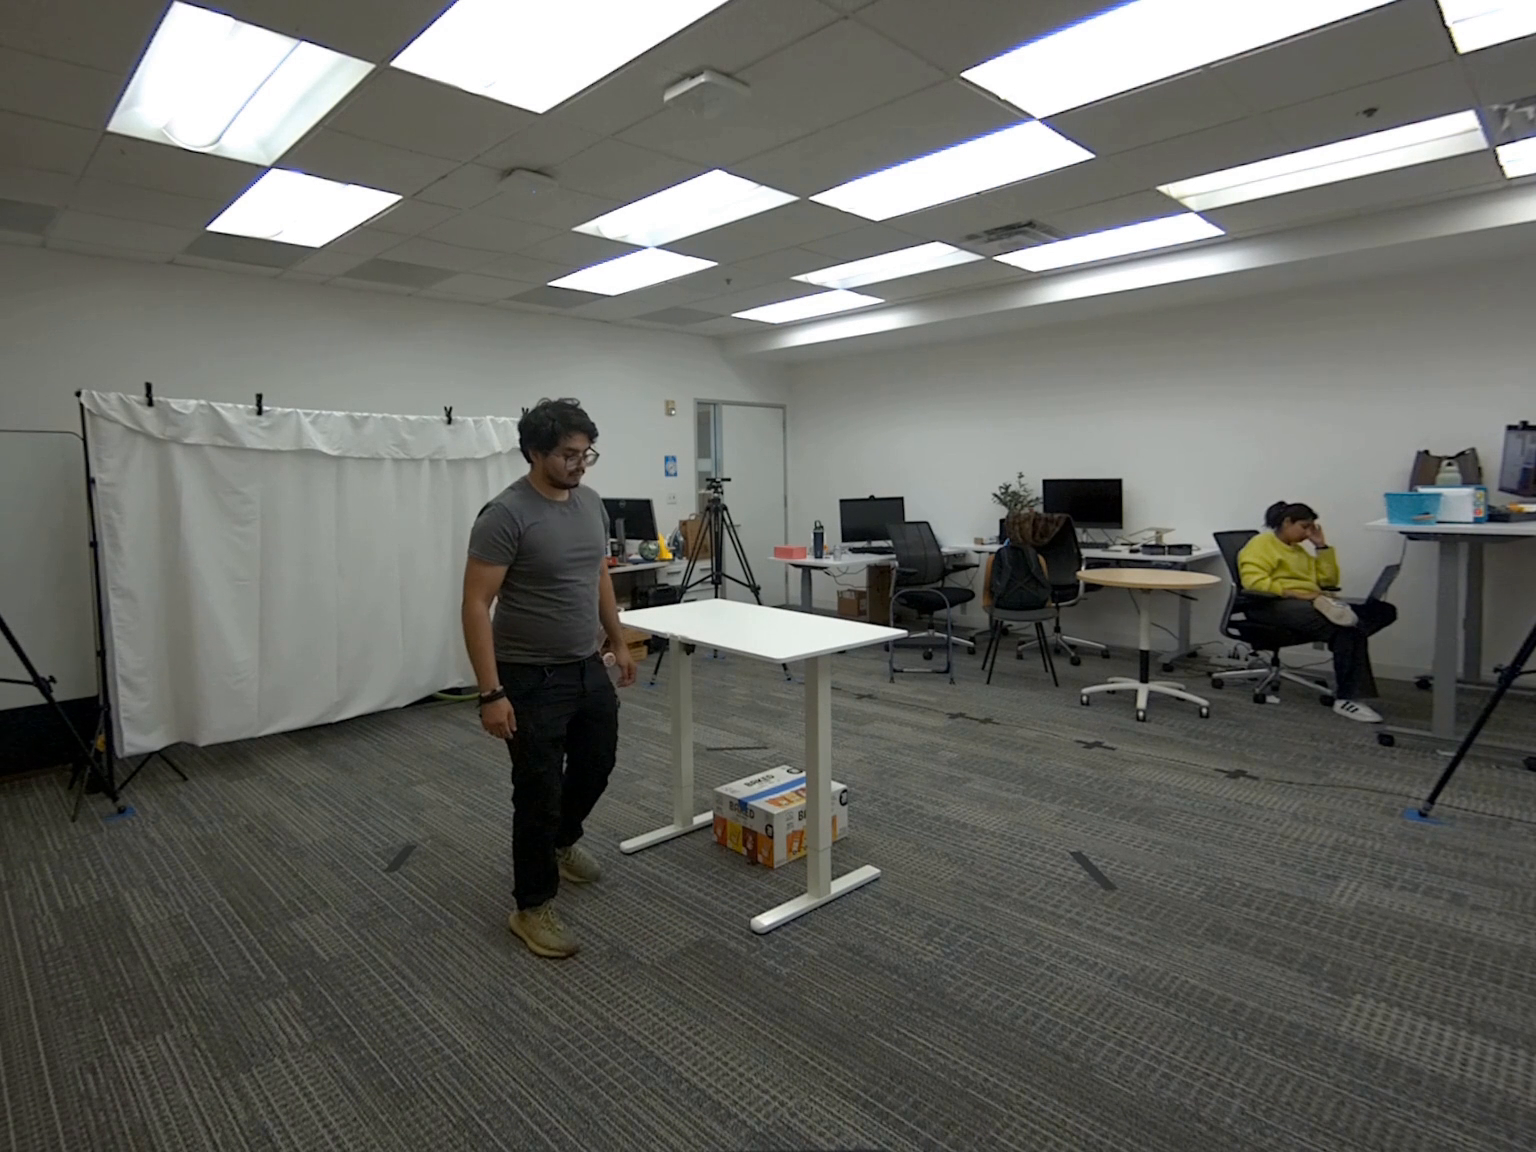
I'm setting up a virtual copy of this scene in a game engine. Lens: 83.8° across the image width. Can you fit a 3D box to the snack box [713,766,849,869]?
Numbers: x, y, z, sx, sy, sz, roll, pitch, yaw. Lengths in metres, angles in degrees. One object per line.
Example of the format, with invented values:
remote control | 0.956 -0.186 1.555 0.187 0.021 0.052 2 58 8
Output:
snack box | 0.049 0.919 3.300 0.394 0.205 0.351 -7 8 -43
